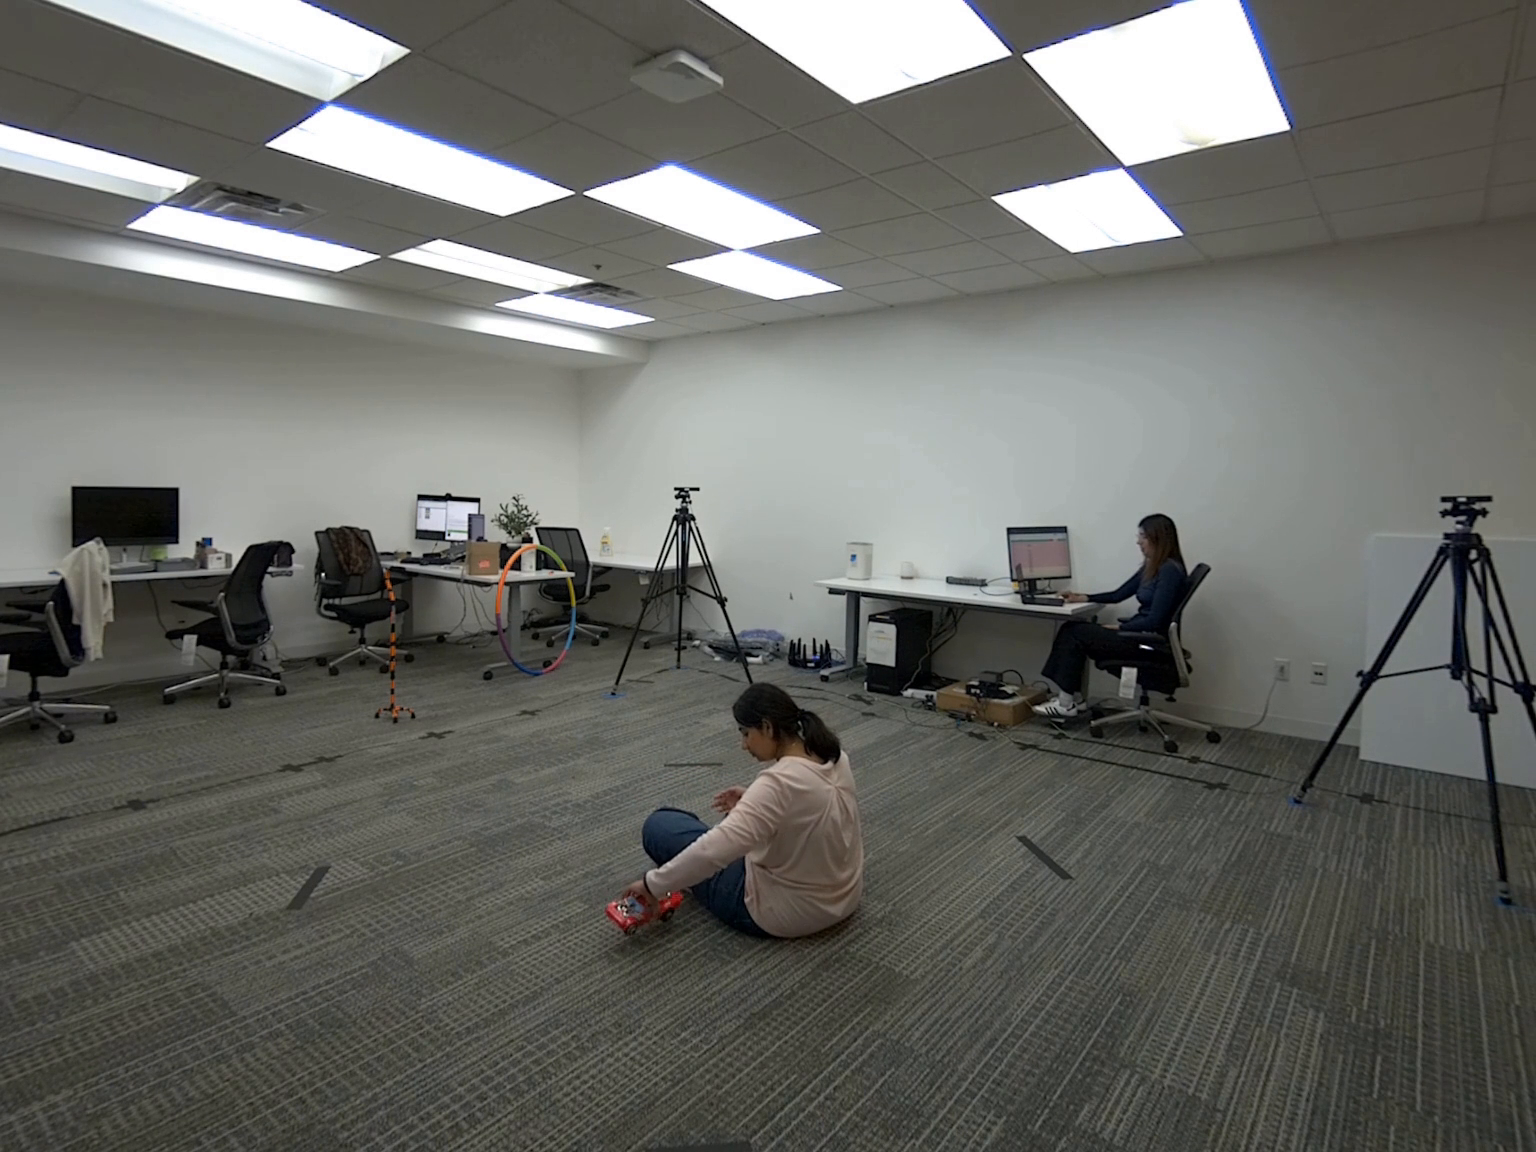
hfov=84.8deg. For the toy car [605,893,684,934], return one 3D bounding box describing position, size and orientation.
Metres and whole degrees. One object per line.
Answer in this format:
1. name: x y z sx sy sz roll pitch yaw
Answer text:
1. toy car: -0.391 1.033 2.648 0.135 0.082 0.248 22 25 41
